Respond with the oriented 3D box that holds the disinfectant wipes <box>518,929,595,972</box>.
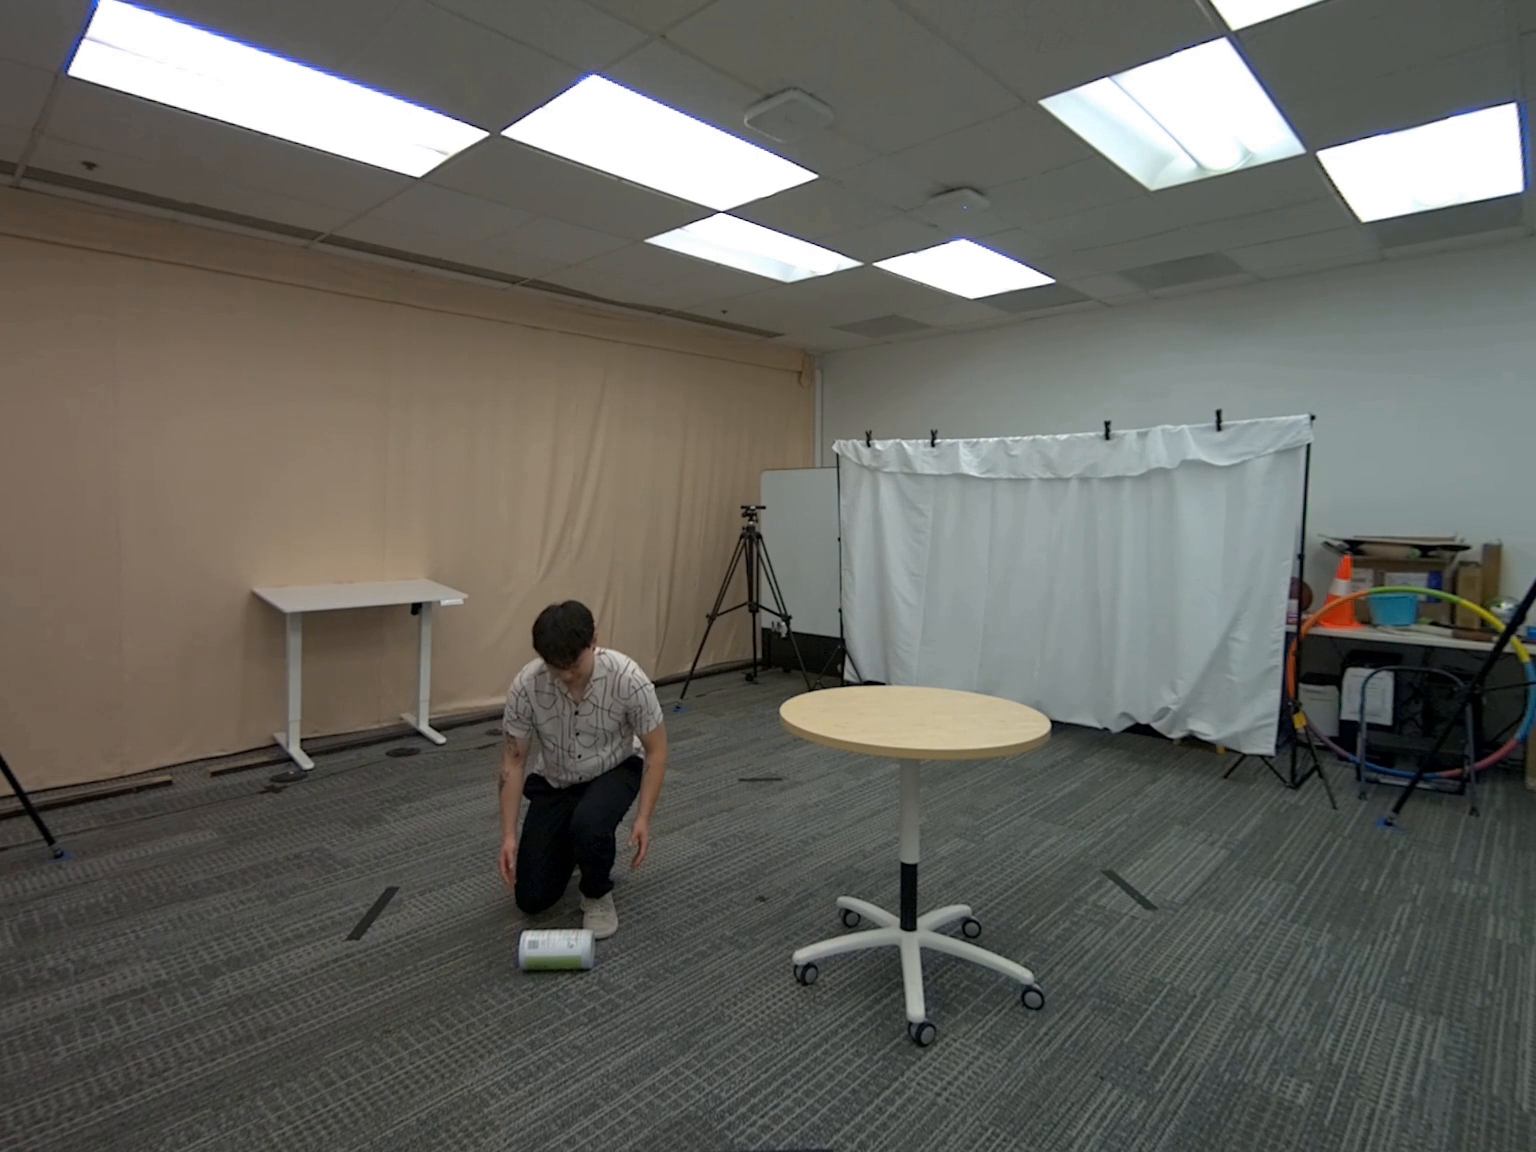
[{"bbox_3d":[-0.634,1.121,2.539,0.217,0.117,0.118,-2,4,-1],"label":"disinfectant wipes"}]
